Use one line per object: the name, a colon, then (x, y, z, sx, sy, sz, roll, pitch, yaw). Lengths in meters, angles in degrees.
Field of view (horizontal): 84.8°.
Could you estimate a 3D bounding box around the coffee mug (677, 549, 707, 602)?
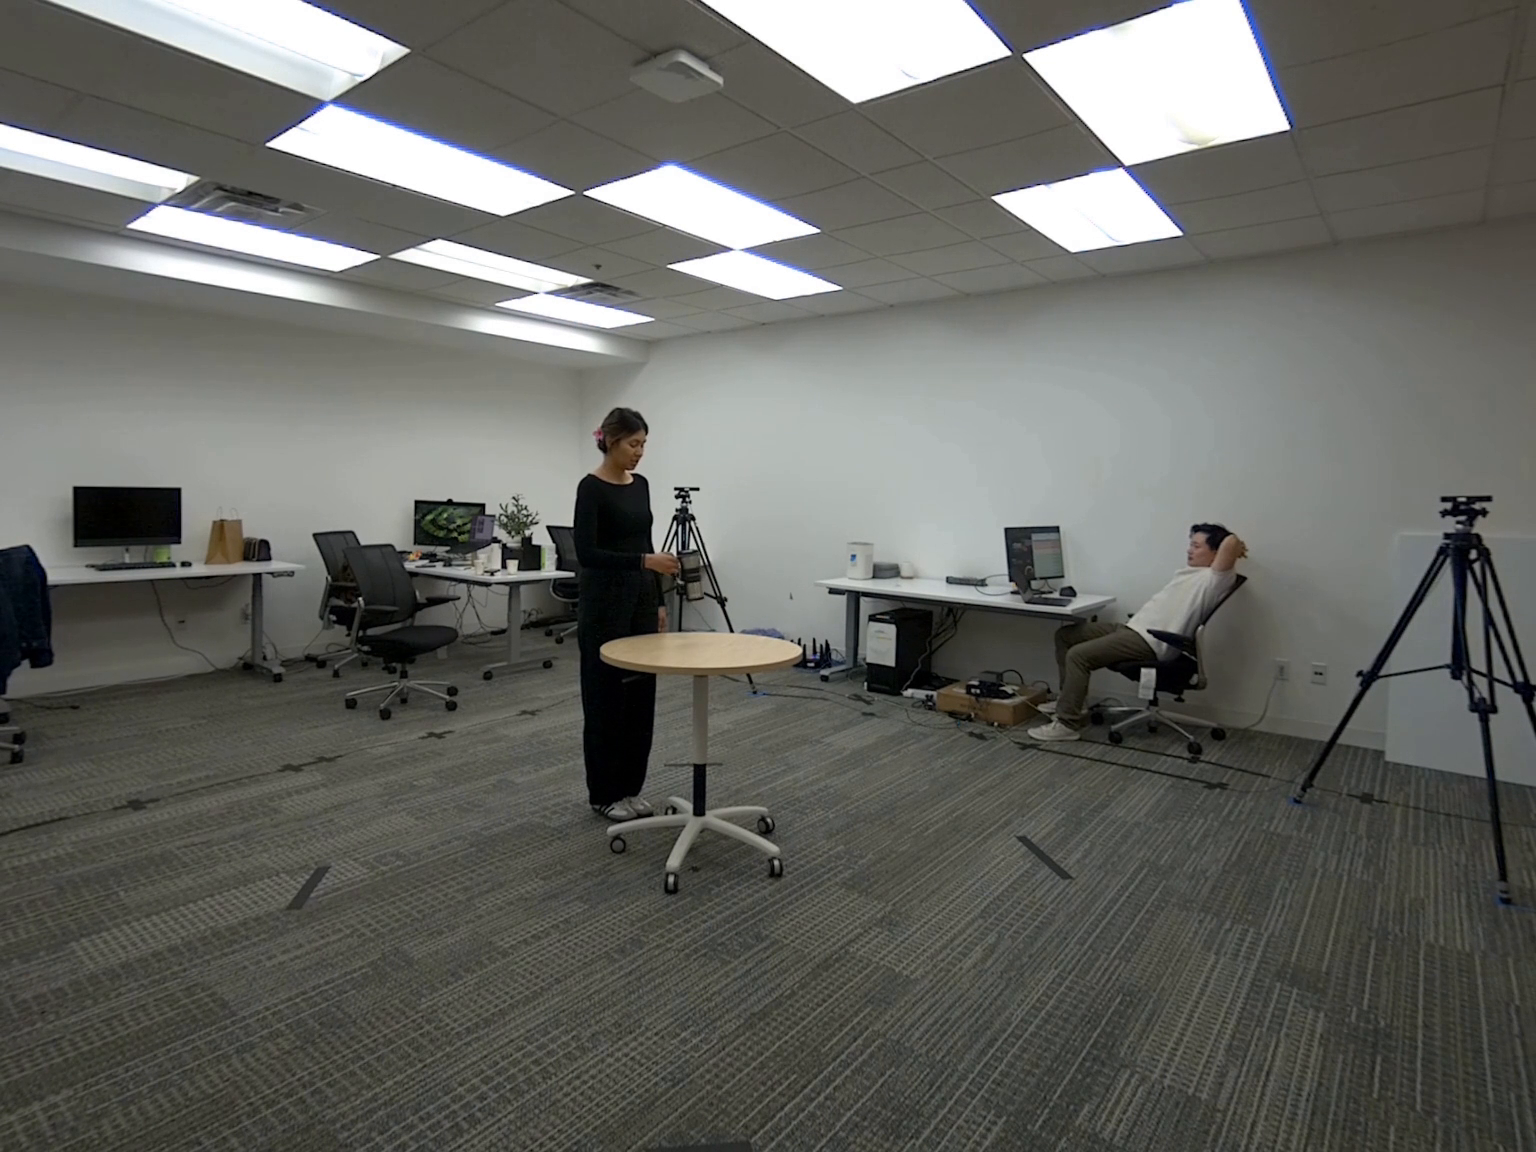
coffee mug: (-0.332, -0.001, 3.406, 0.085, 0.202, 0.126, -9, 5, -36)
